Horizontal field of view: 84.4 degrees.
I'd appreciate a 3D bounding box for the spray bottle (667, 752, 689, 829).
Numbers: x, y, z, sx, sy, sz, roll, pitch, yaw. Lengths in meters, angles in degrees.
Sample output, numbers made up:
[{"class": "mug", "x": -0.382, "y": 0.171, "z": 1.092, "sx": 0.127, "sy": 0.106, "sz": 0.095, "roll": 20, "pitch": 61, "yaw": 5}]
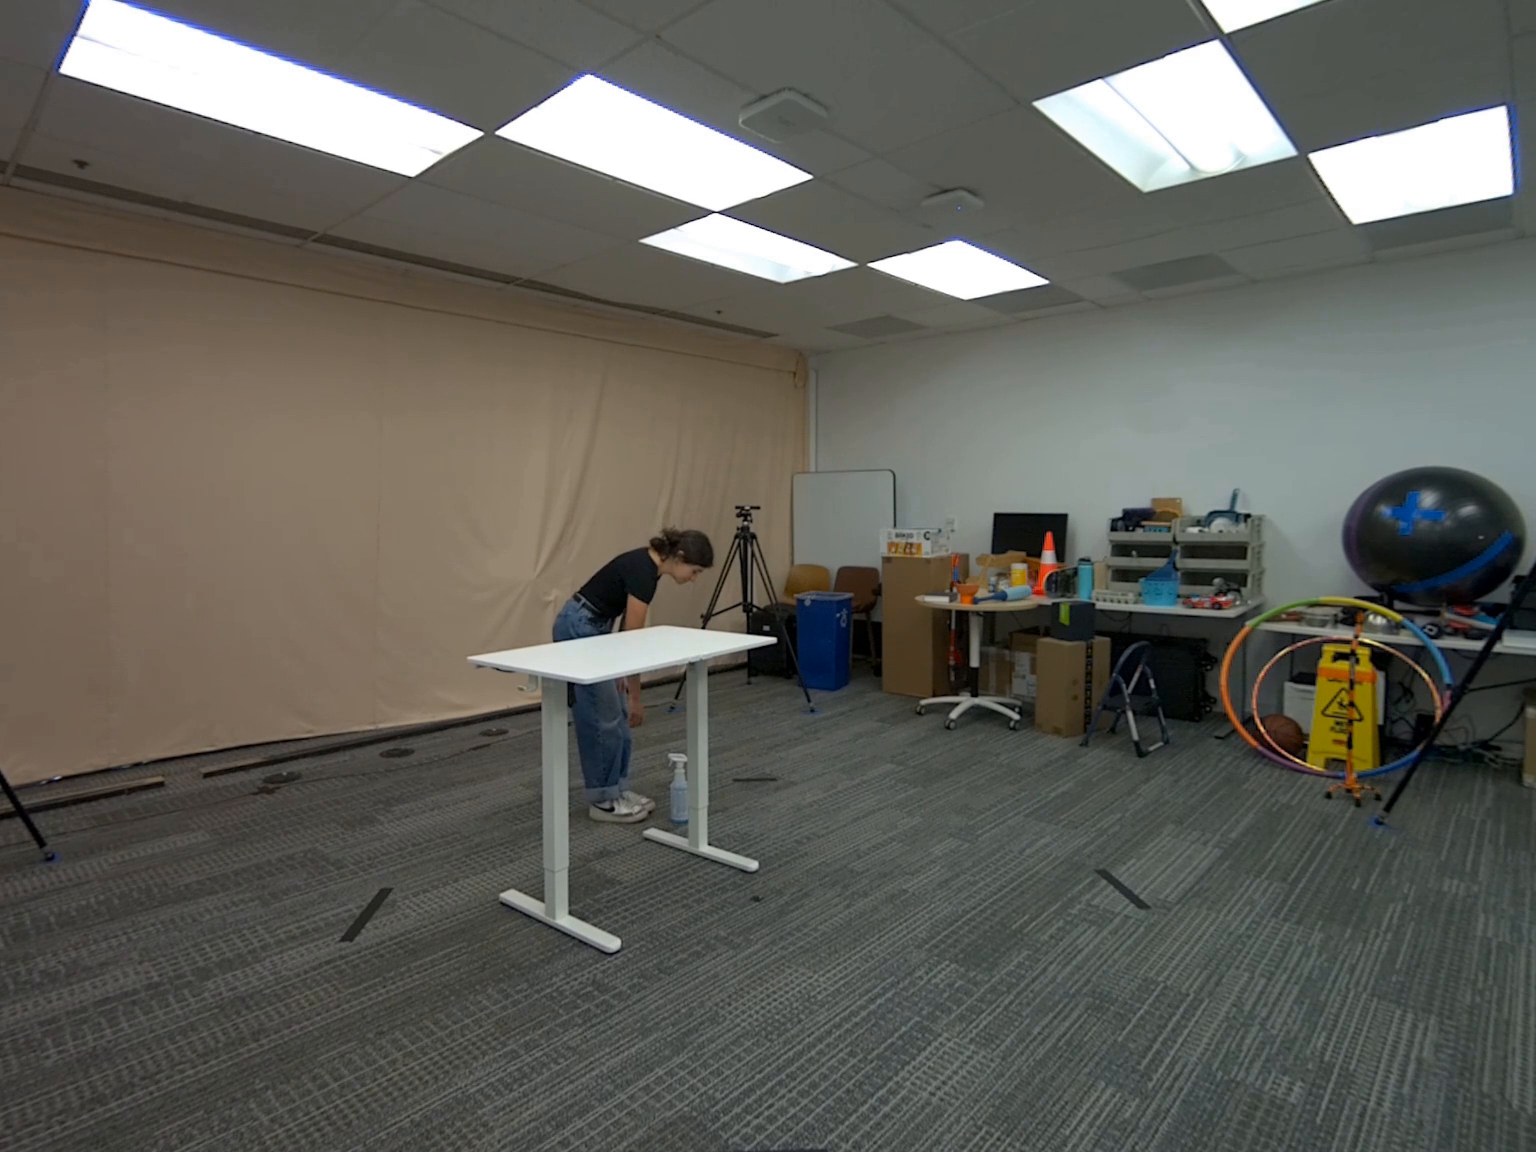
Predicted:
[{"class": "spray bottle", "x": -0.392, "y": 0.941, "z": 3.737, "sx": 0.092, "sy": 0.297, "sz": 0.085, "roll": 0, "pitch": 3, "yaw": 21}]
